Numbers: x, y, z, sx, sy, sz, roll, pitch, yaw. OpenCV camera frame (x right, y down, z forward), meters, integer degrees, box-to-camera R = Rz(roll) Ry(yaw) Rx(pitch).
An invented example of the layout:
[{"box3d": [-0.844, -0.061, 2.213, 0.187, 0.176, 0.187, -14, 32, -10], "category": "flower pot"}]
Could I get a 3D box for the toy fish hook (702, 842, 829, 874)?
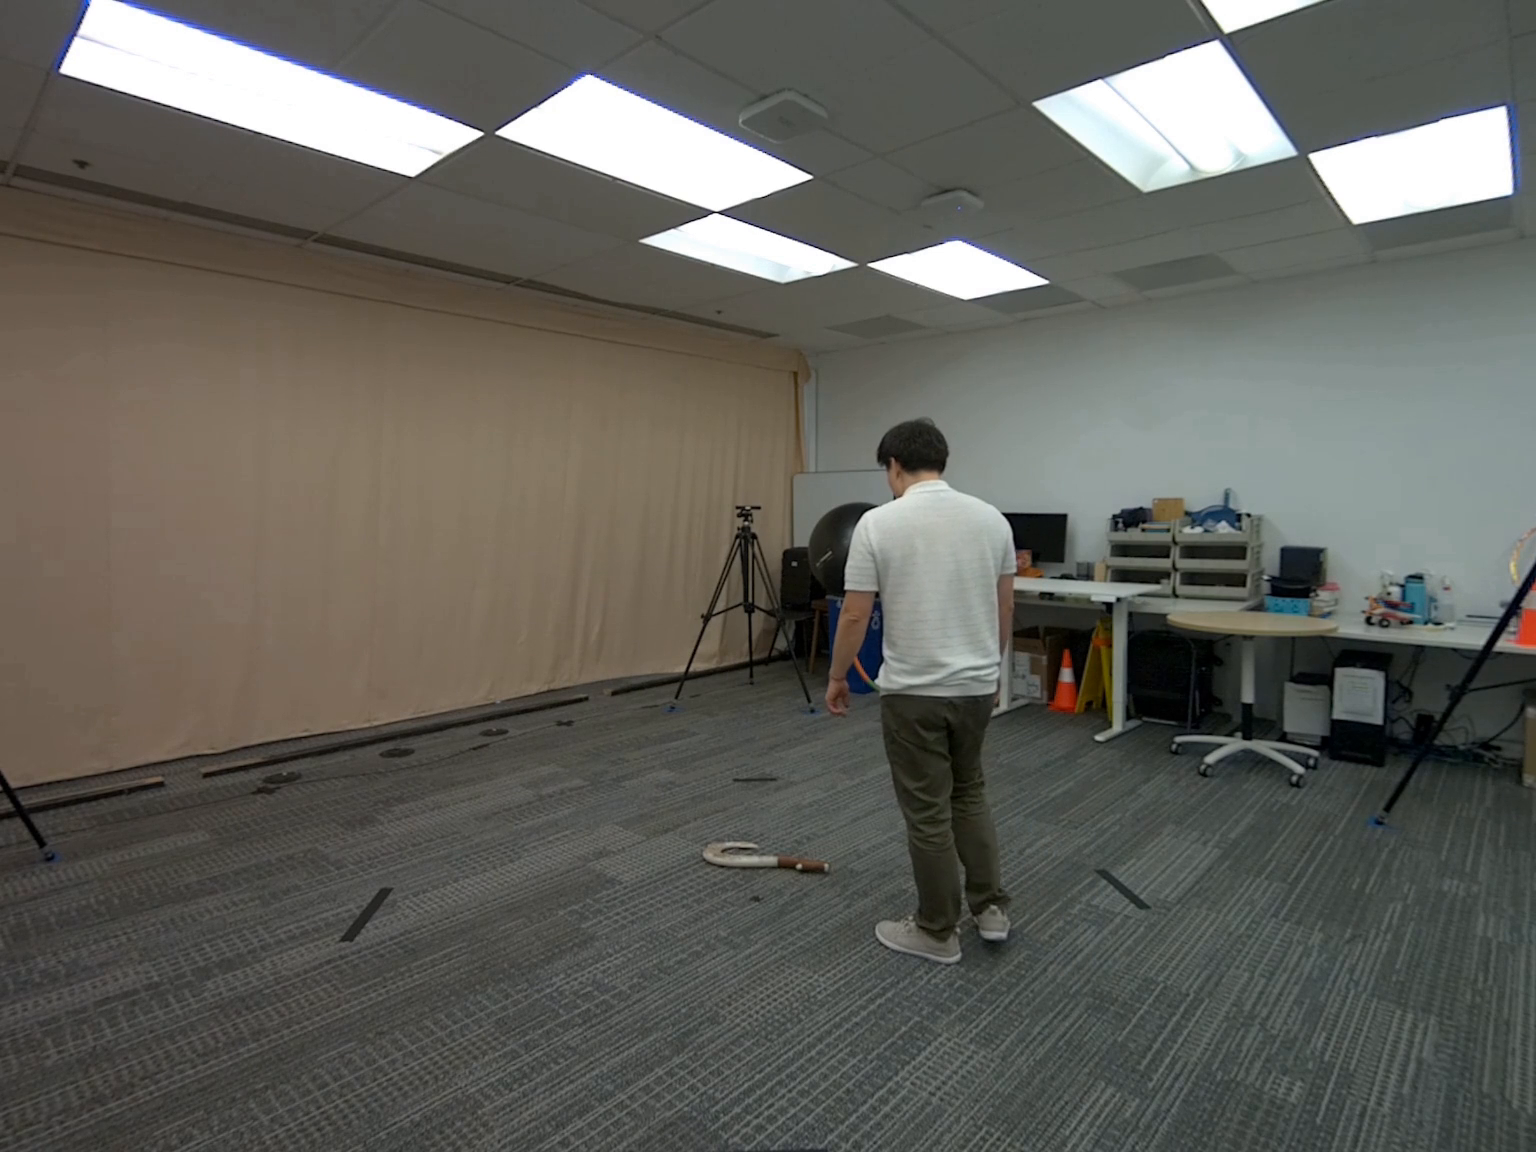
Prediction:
[{"box3d": [0.000, 1.092, 3.297, 0.515, 0.048, 0.222, 1, 7, 14], "category": "toy fish hook"}]
